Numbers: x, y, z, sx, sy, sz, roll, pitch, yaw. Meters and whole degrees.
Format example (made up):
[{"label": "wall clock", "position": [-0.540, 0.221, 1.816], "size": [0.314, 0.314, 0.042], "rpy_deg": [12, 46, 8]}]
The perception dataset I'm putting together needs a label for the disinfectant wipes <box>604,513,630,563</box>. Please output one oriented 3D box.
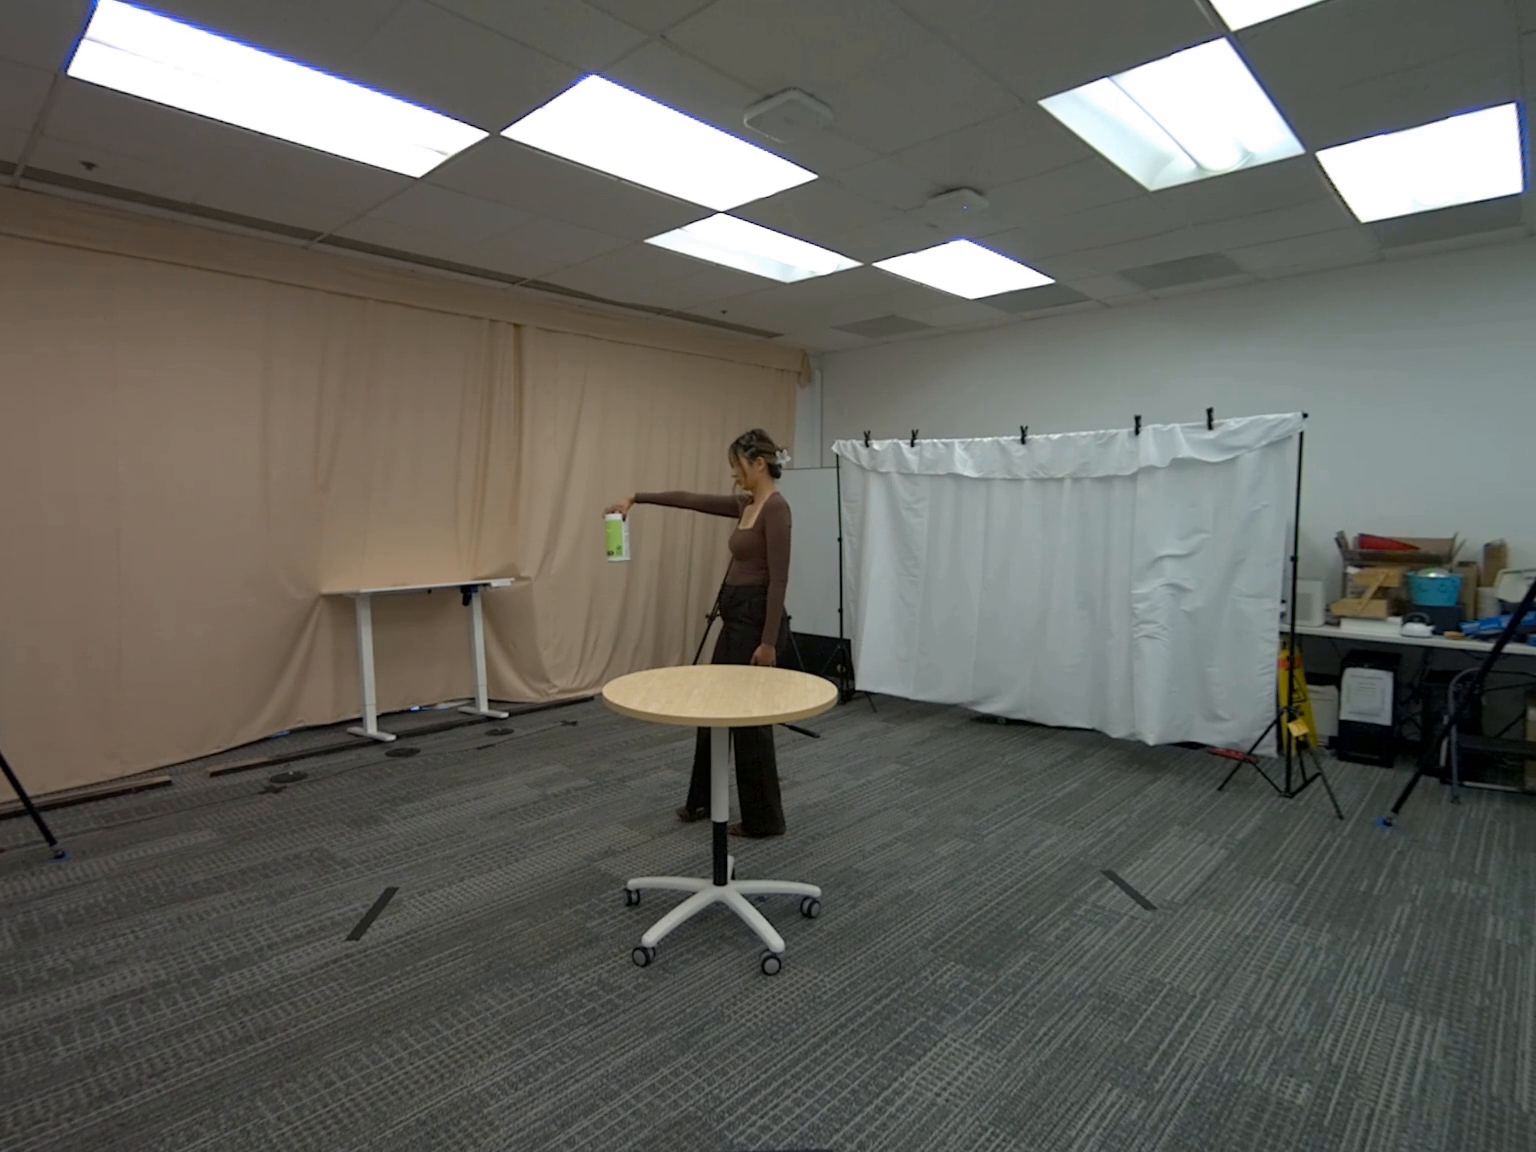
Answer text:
[{"label": "disinfectant wipes", "position": [-0.684, -0.172, 3.824], "size": [0.118, 0.217, 0.118], "rpy_deg": [-3, 1, -2]}]
